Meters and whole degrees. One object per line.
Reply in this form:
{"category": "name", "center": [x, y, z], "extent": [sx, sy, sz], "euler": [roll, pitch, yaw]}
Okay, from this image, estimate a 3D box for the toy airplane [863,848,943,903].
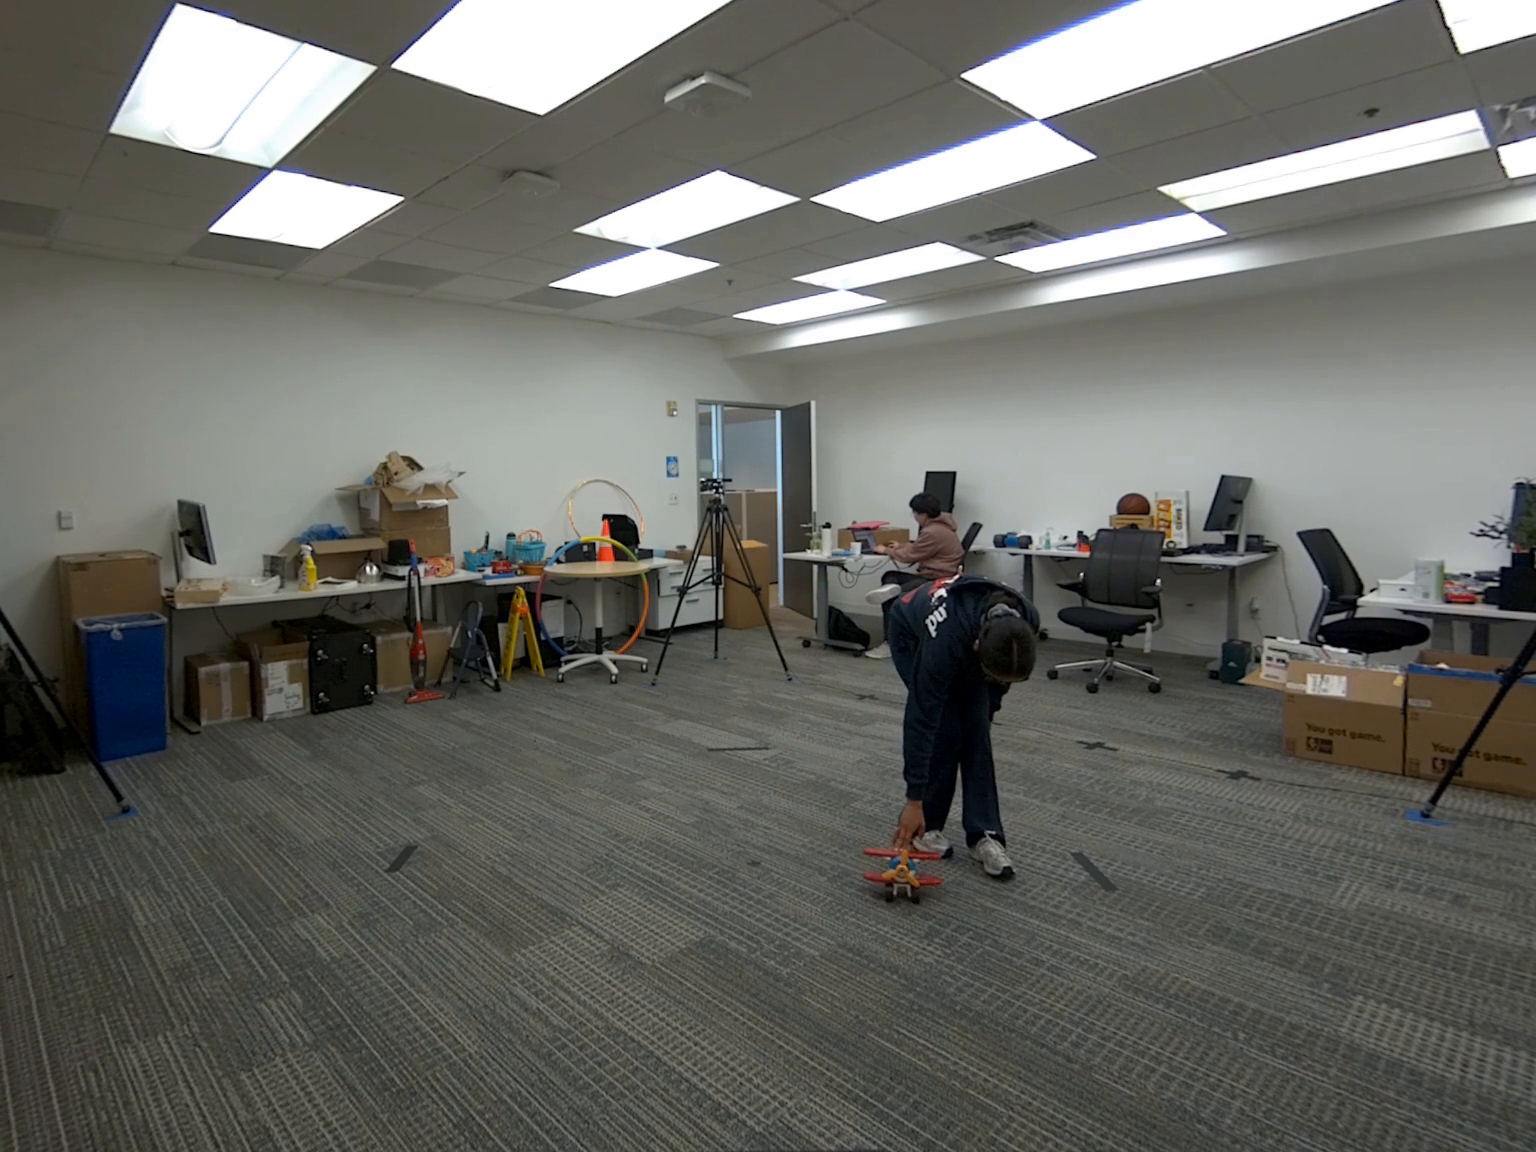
{"category": "toy airplane", "center": [0.437, 0.988, 2.890], "extent": [0.247, 0.156, 0.264], "euler": [-2, 5, -19]}
